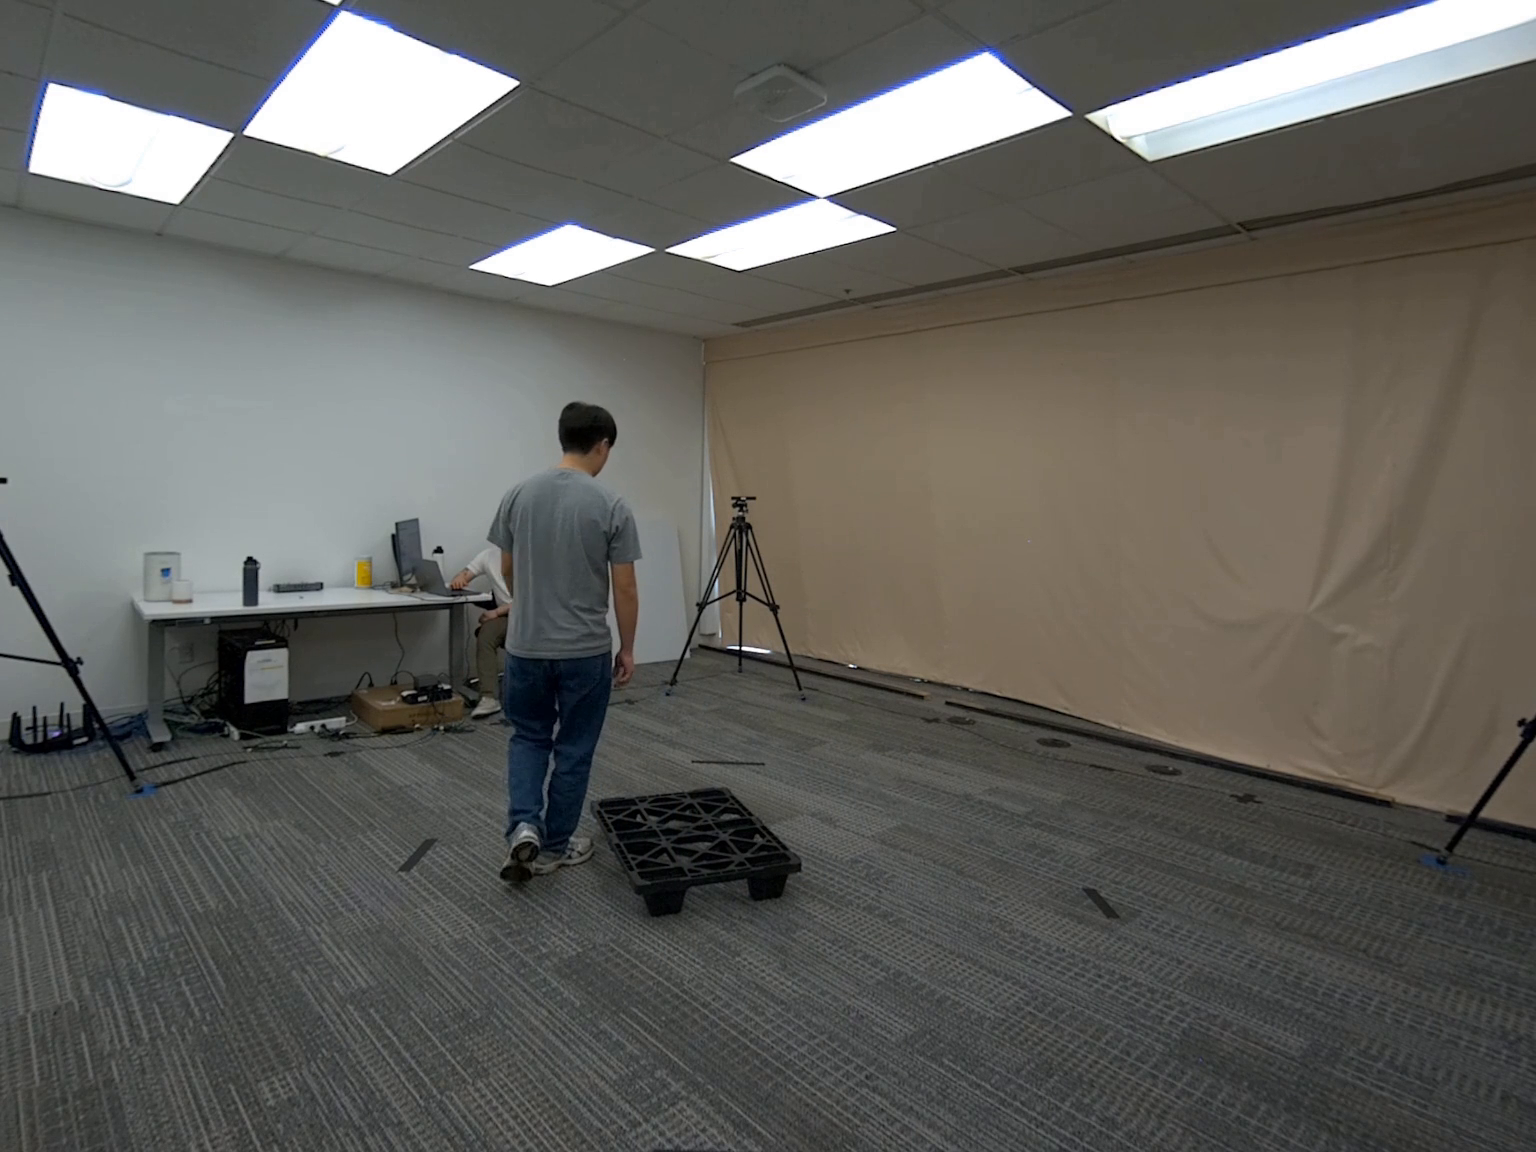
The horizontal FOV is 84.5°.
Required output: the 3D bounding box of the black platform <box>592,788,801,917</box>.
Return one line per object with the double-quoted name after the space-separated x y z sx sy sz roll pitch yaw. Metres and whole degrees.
-0.311 1.024 3.203 0.595 0.143 0.821 0 6 -22 "black platform"
